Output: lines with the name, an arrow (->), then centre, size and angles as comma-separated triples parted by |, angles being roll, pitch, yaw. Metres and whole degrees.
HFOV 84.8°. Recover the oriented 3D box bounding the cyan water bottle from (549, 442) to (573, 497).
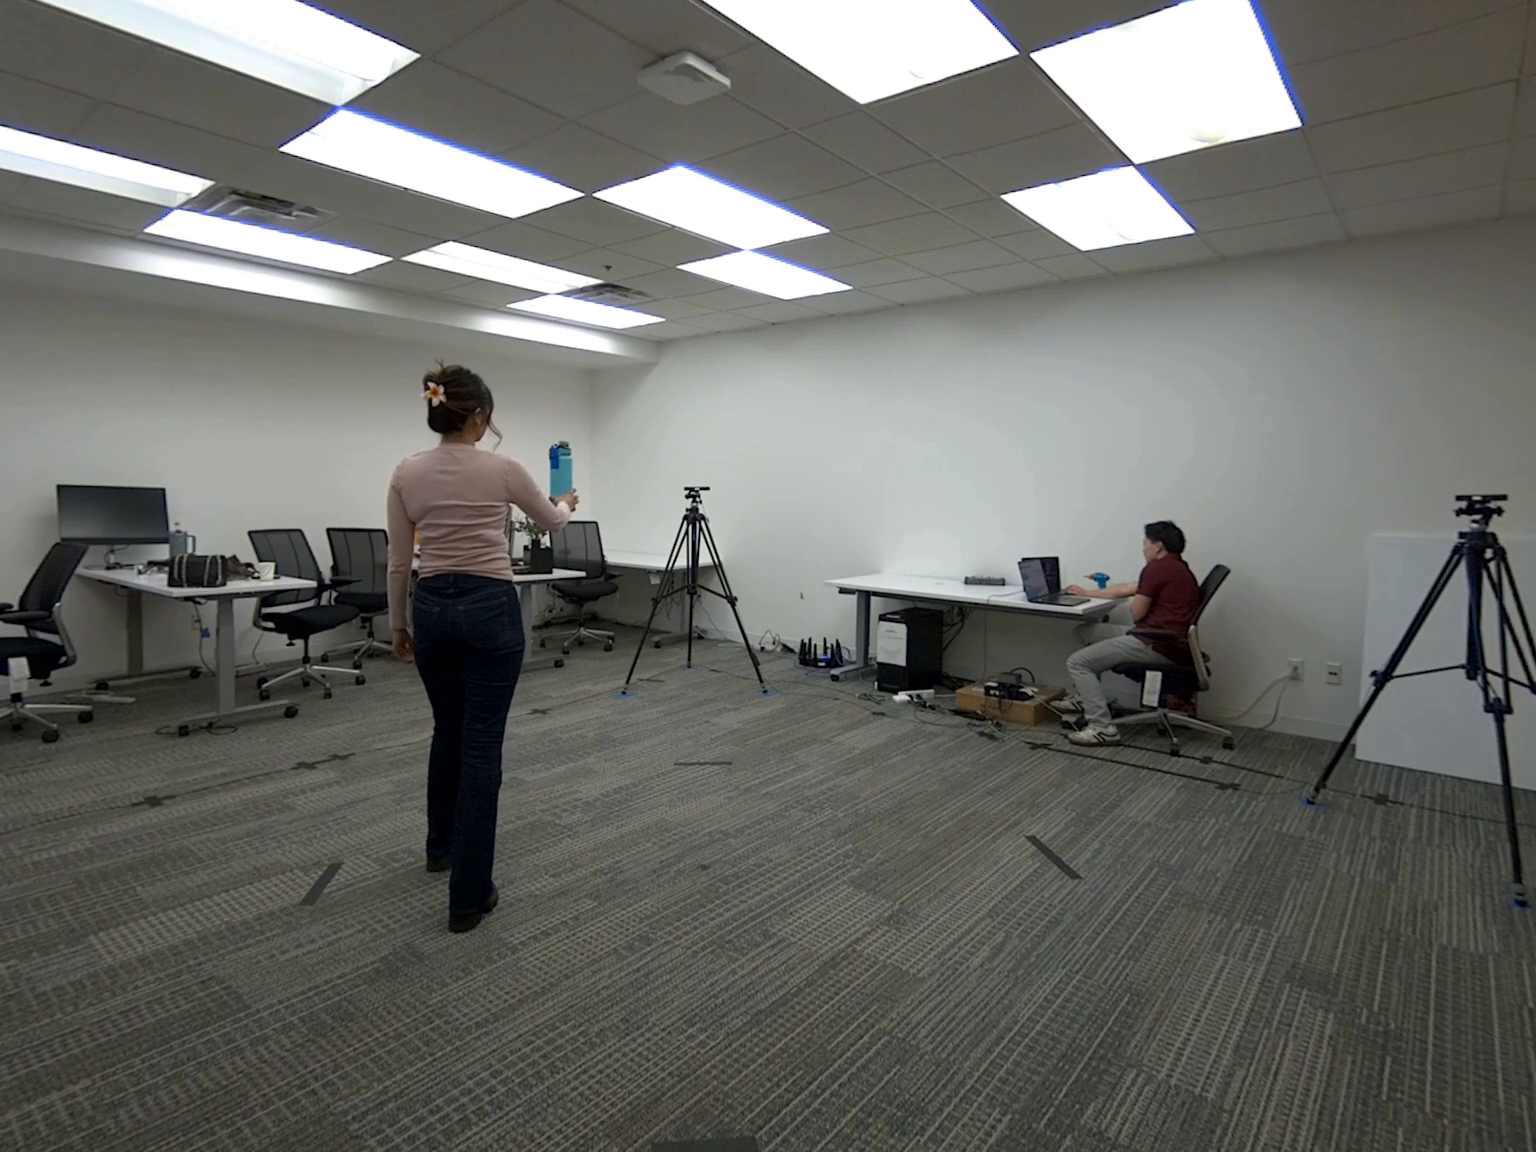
cyan water bottle -> -0.841, -0.402, 3.386 | 0.092, 0.282, 0.093 | 3, 6, -2
